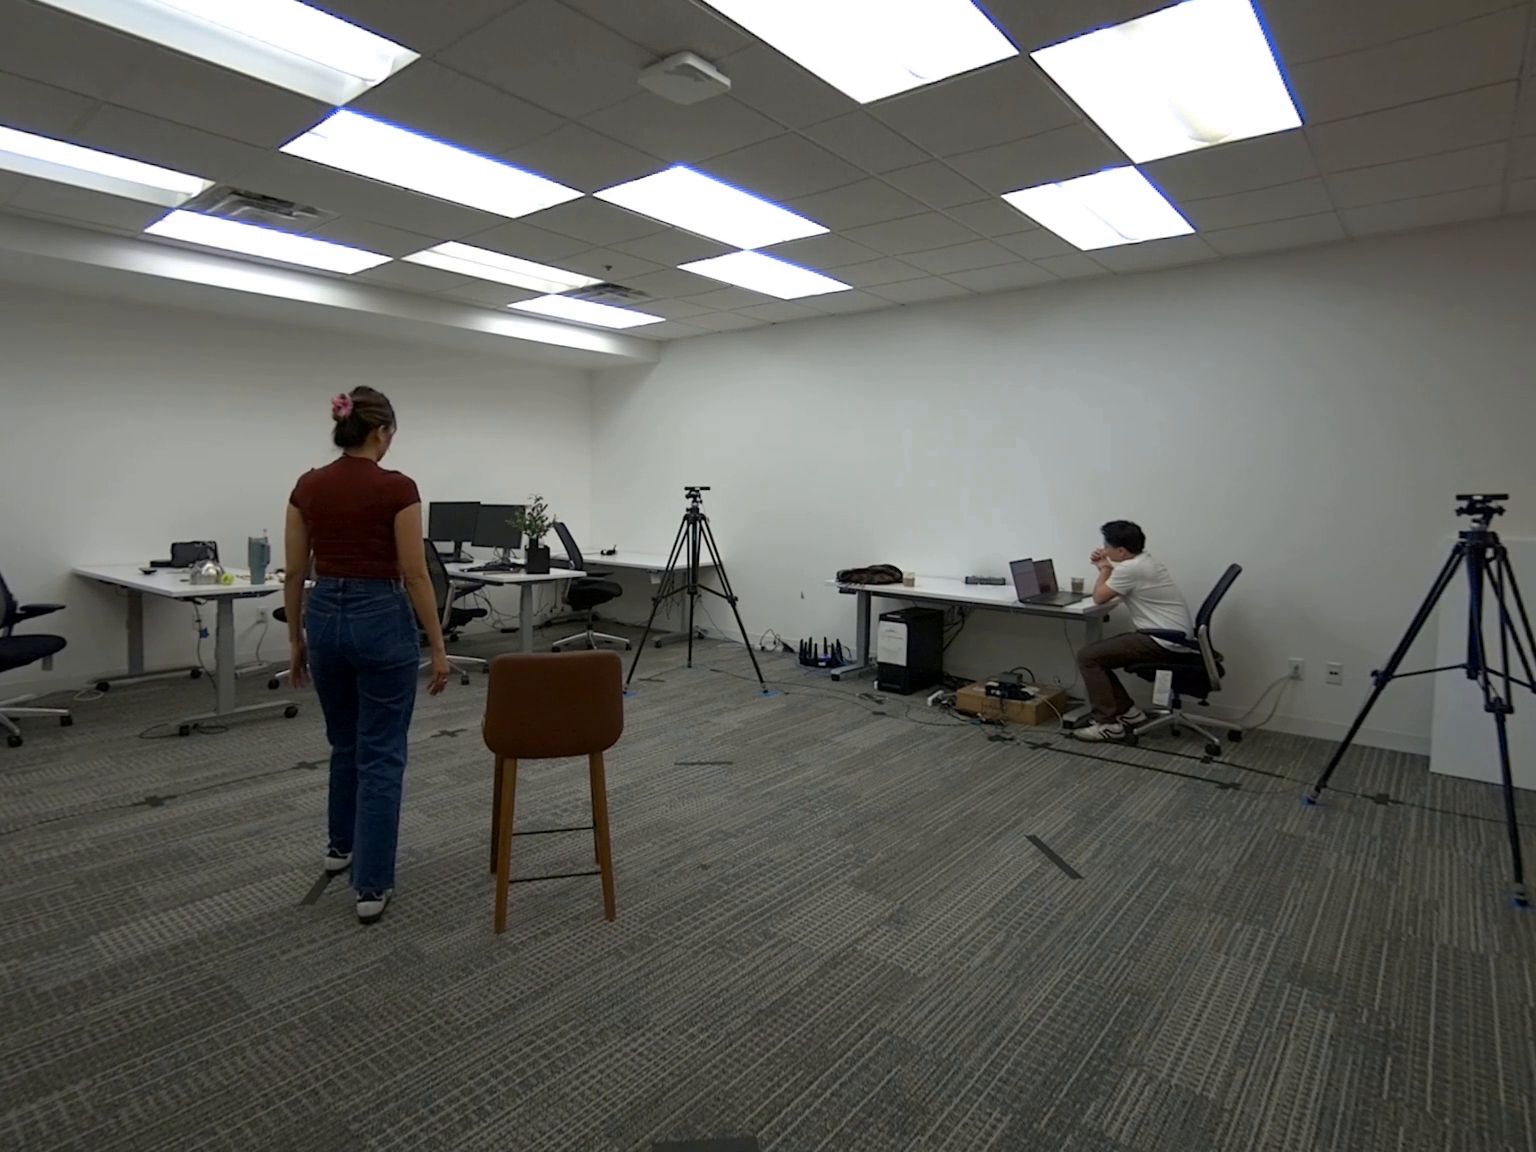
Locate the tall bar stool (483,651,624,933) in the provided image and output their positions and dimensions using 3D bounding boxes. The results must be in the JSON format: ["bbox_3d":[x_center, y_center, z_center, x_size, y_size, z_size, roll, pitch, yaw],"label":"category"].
[{"bbox_3d":[-0.745,0.653,2.861,0.449,0.886,0.478,-1,5,-17],"label":"tall bar stool"}]
